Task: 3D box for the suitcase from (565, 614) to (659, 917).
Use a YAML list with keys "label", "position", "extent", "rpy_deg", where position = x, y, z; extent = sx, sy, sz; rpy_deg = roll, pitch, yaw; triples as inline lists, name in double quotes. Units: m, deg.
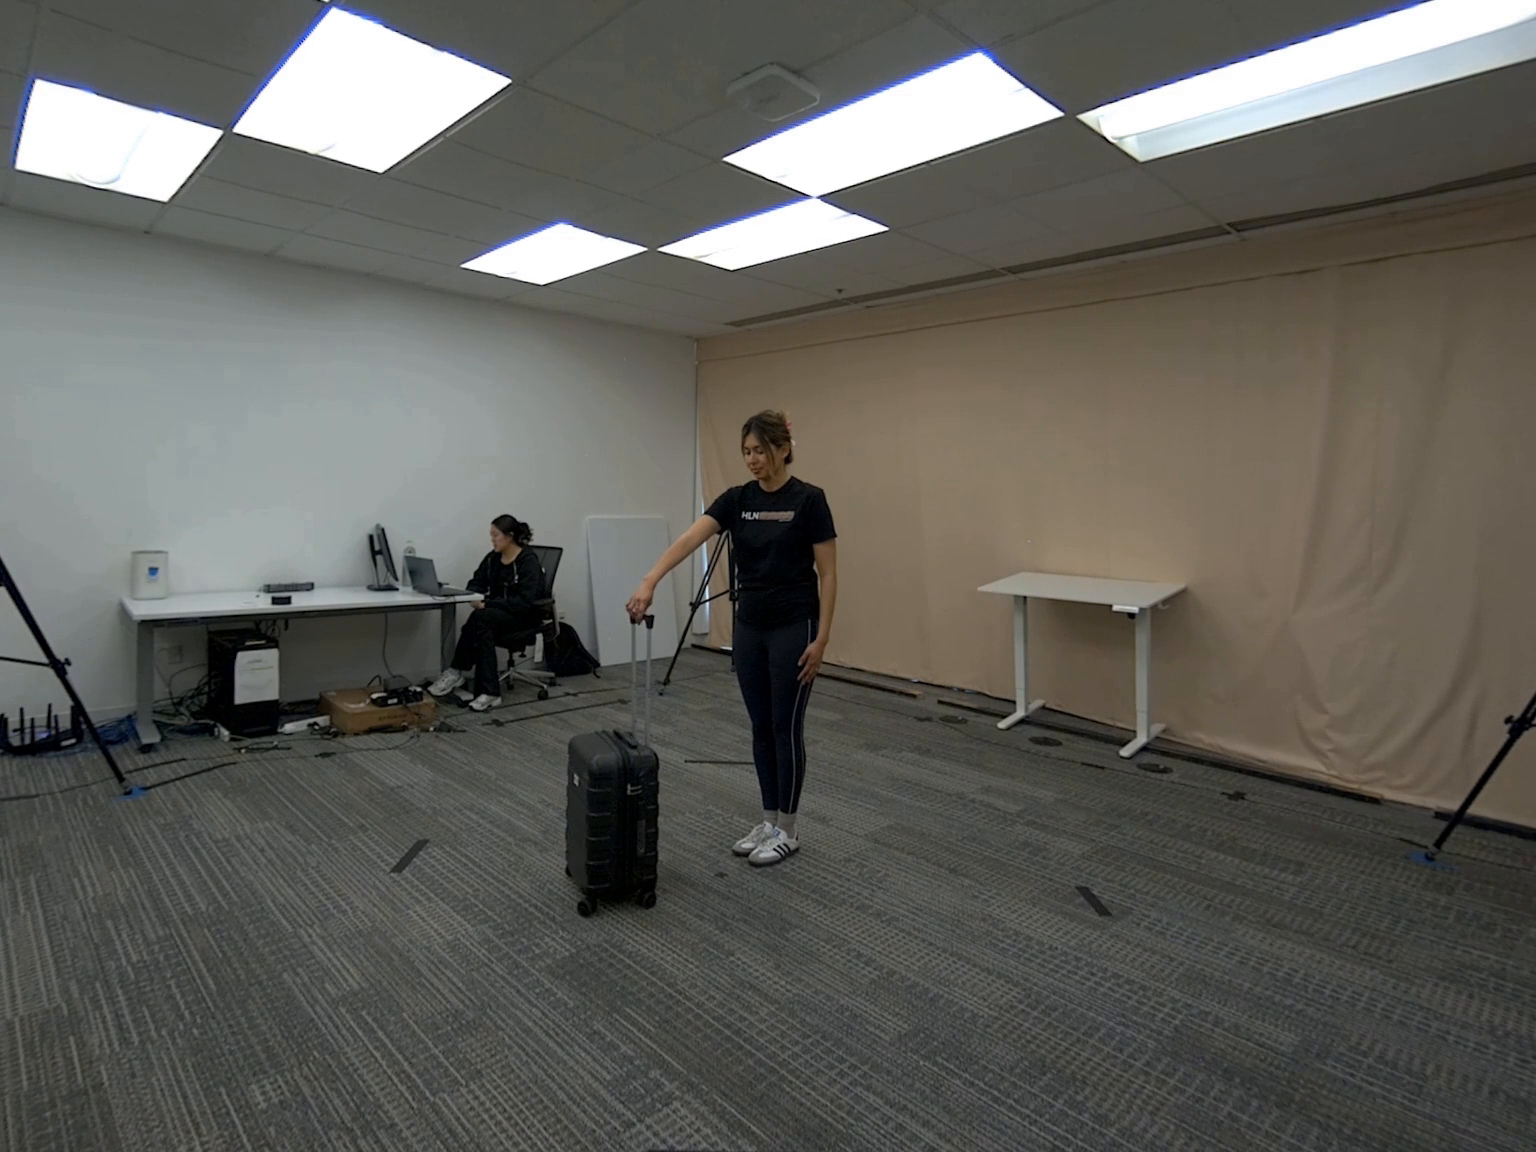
- label: "suitcase"
  position: [-0.556, 0.638, 2.926]
  extent: [0.253, 0.976, 0.391]
  rpy_deg: [-1, 4, -22]
